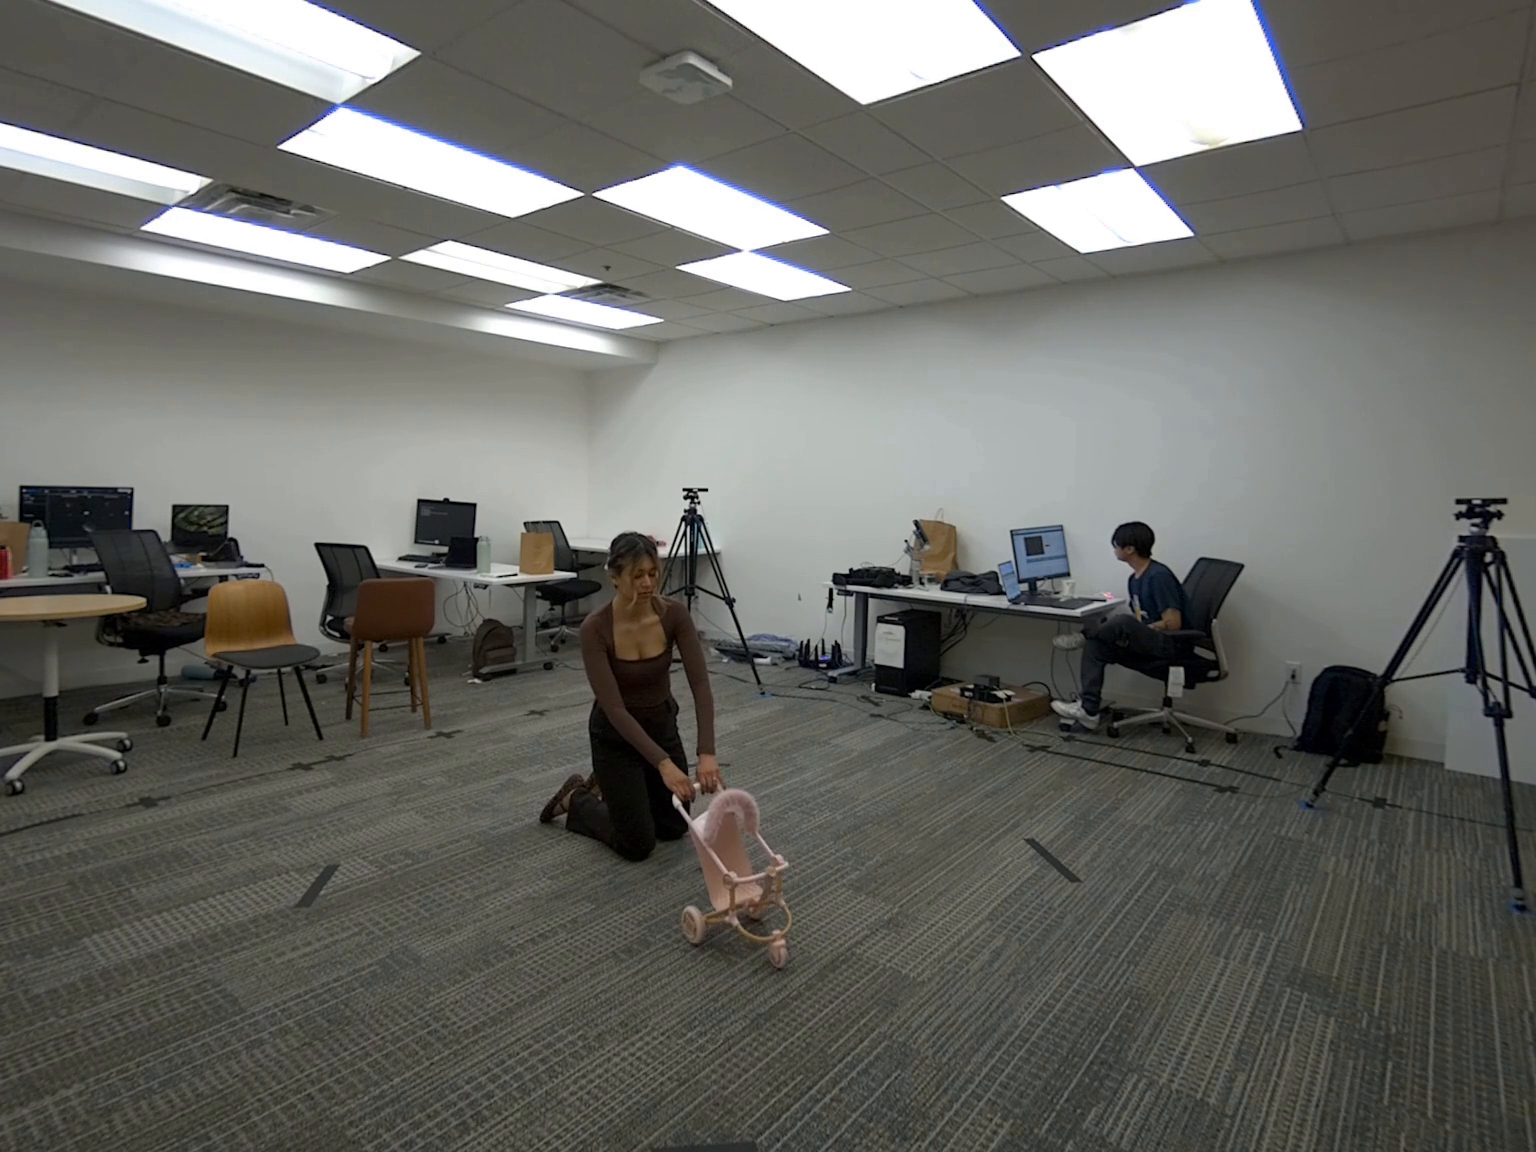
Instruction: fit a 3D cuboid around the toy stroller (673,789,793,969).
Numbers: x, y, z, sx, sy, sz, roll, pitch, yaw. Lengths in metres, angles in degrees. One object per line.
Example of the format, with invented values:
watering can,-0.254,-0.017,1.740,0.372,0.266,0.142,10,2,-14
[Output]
toy stroller,-0.105,0.893,2.623,0.273,0.542,0.347,-3,-13,-37
